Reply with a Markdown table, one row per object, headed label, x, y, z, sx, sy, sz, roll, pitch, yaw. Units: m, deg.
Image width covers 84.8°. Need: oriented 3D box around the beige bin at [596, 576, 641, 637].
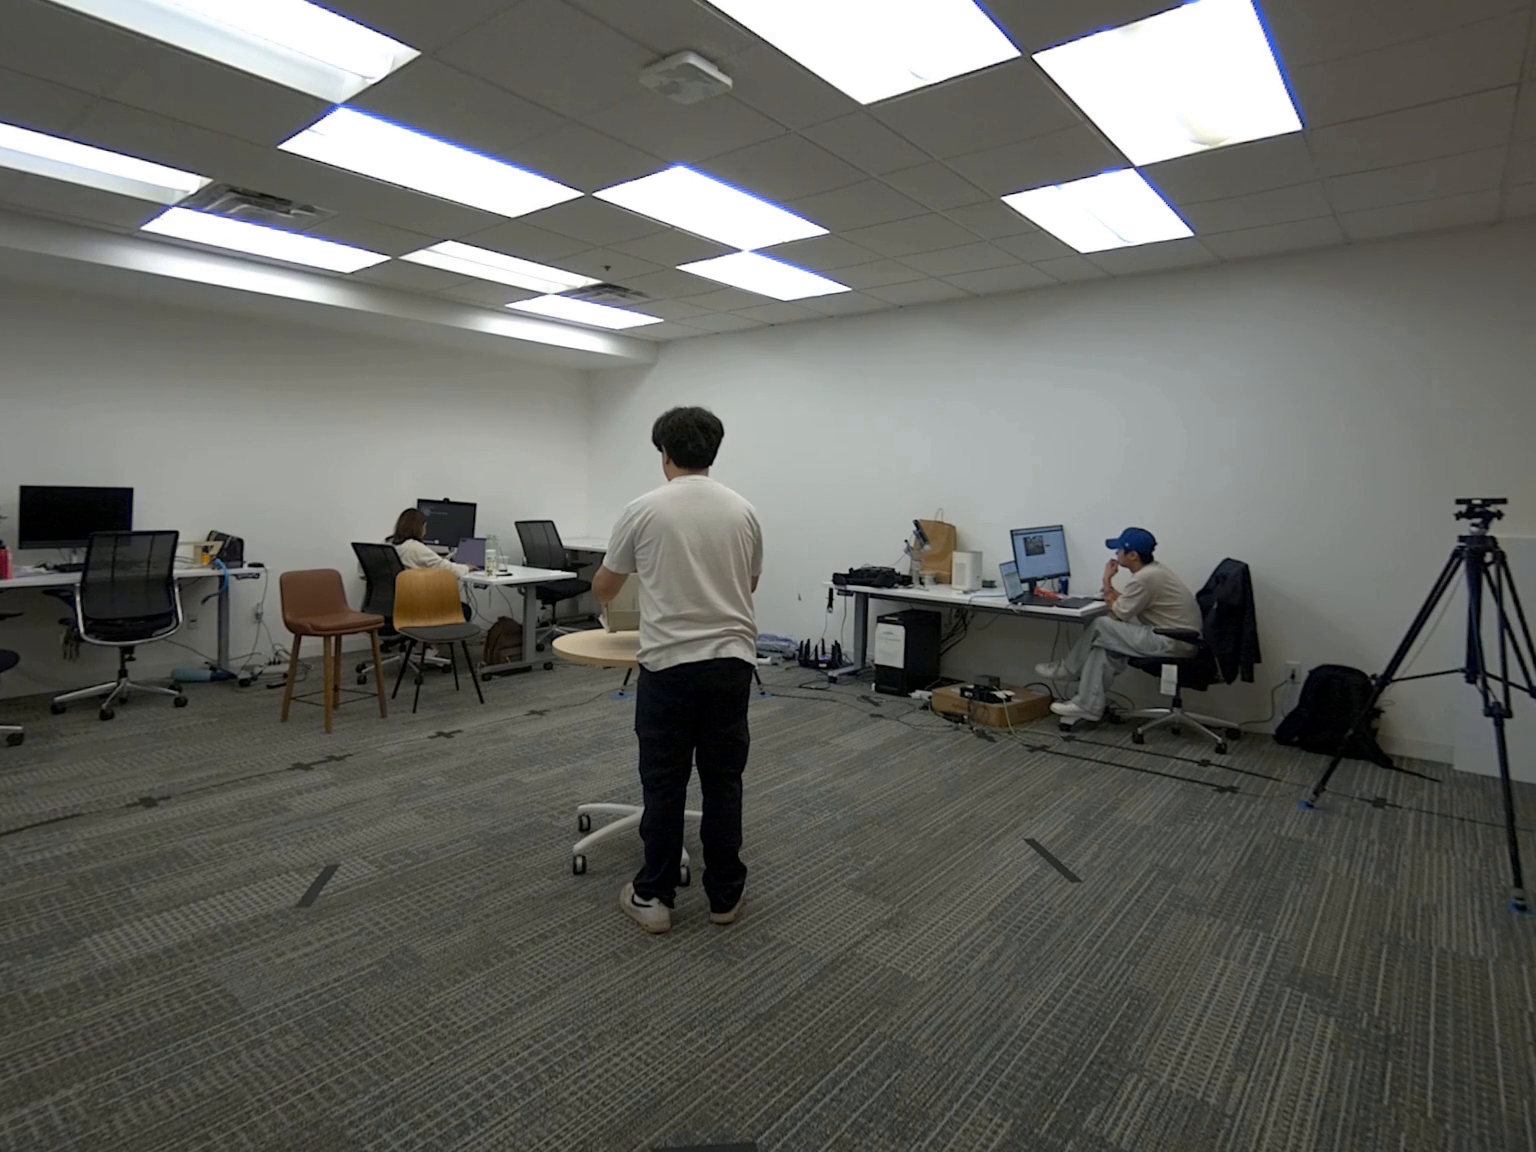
| label | x | y | z | sx | sy | sz | roll | pitch | yaw |
| --- | --- | --- | --- | --- | --- | --- | --- | --- | --- |
| beige bin | -0.435 | 0.100 | 3.266 | 0.416 | 0.188 | 0.384 | -2 | 5 | -15 |
